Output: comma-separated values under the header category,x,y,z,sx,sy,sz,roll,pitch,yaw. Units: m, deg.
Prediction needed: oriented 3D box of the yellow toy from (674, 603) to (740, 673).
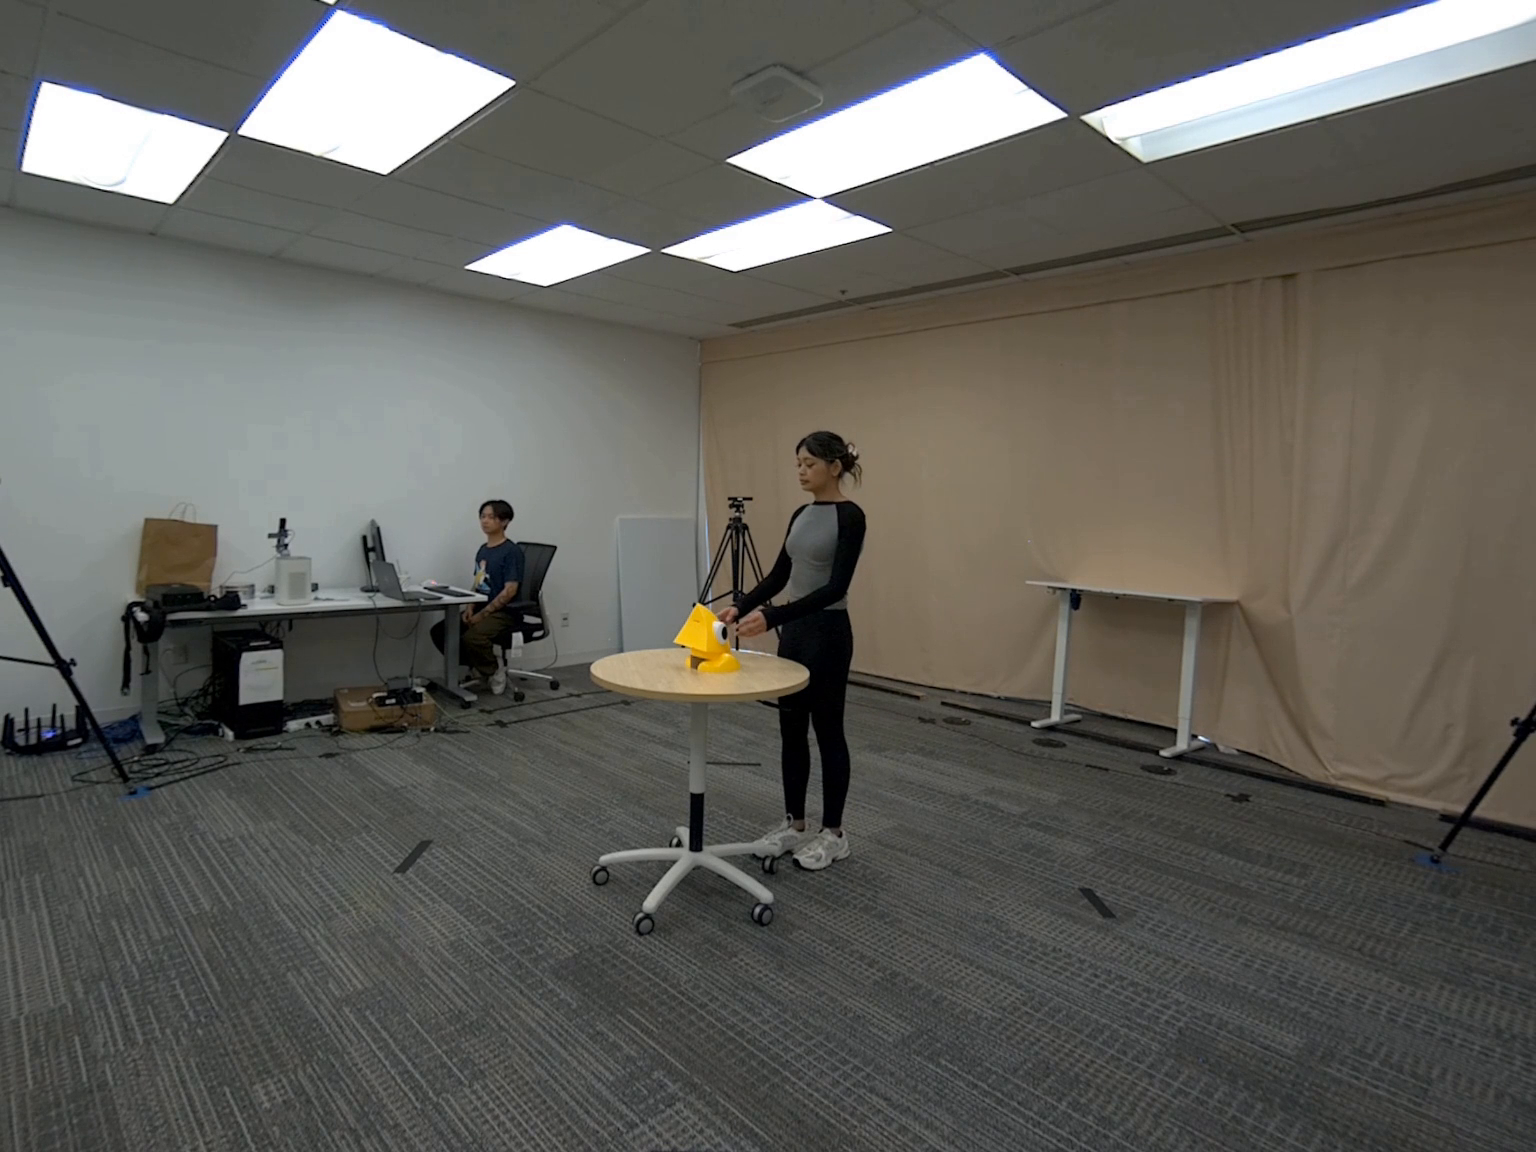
category,x,y,z,sx,sy,sz,roll,pitch,yaw
yellow toy,-0.208,0.210,2.983,0.188,0.230,0.210,0,5,-38
